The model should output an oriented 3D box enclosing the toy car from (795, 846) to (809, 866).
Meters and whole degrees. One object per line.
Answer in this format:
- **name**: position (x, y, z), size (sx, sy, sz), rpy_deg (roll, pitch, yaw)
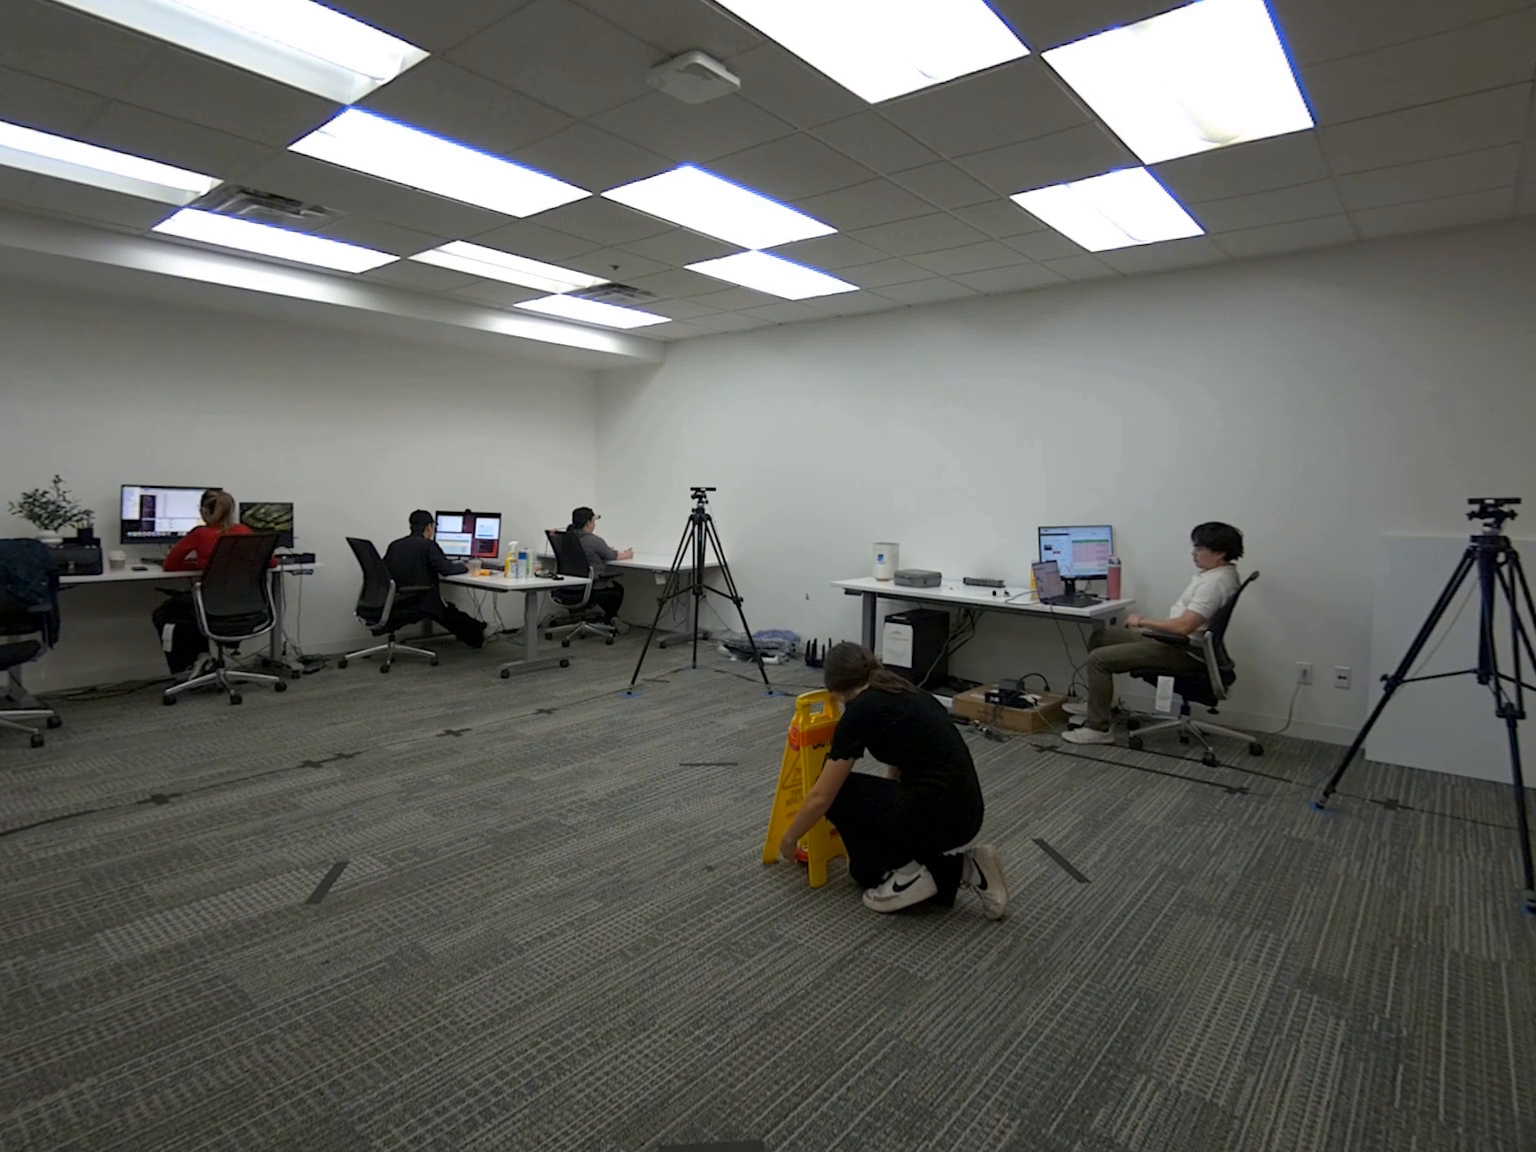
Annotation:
- **toy car**: position (0.200, 1.042, 3.209), size (0.134, 0.082, 0.250), rpy_deg (1, 17, 33)
